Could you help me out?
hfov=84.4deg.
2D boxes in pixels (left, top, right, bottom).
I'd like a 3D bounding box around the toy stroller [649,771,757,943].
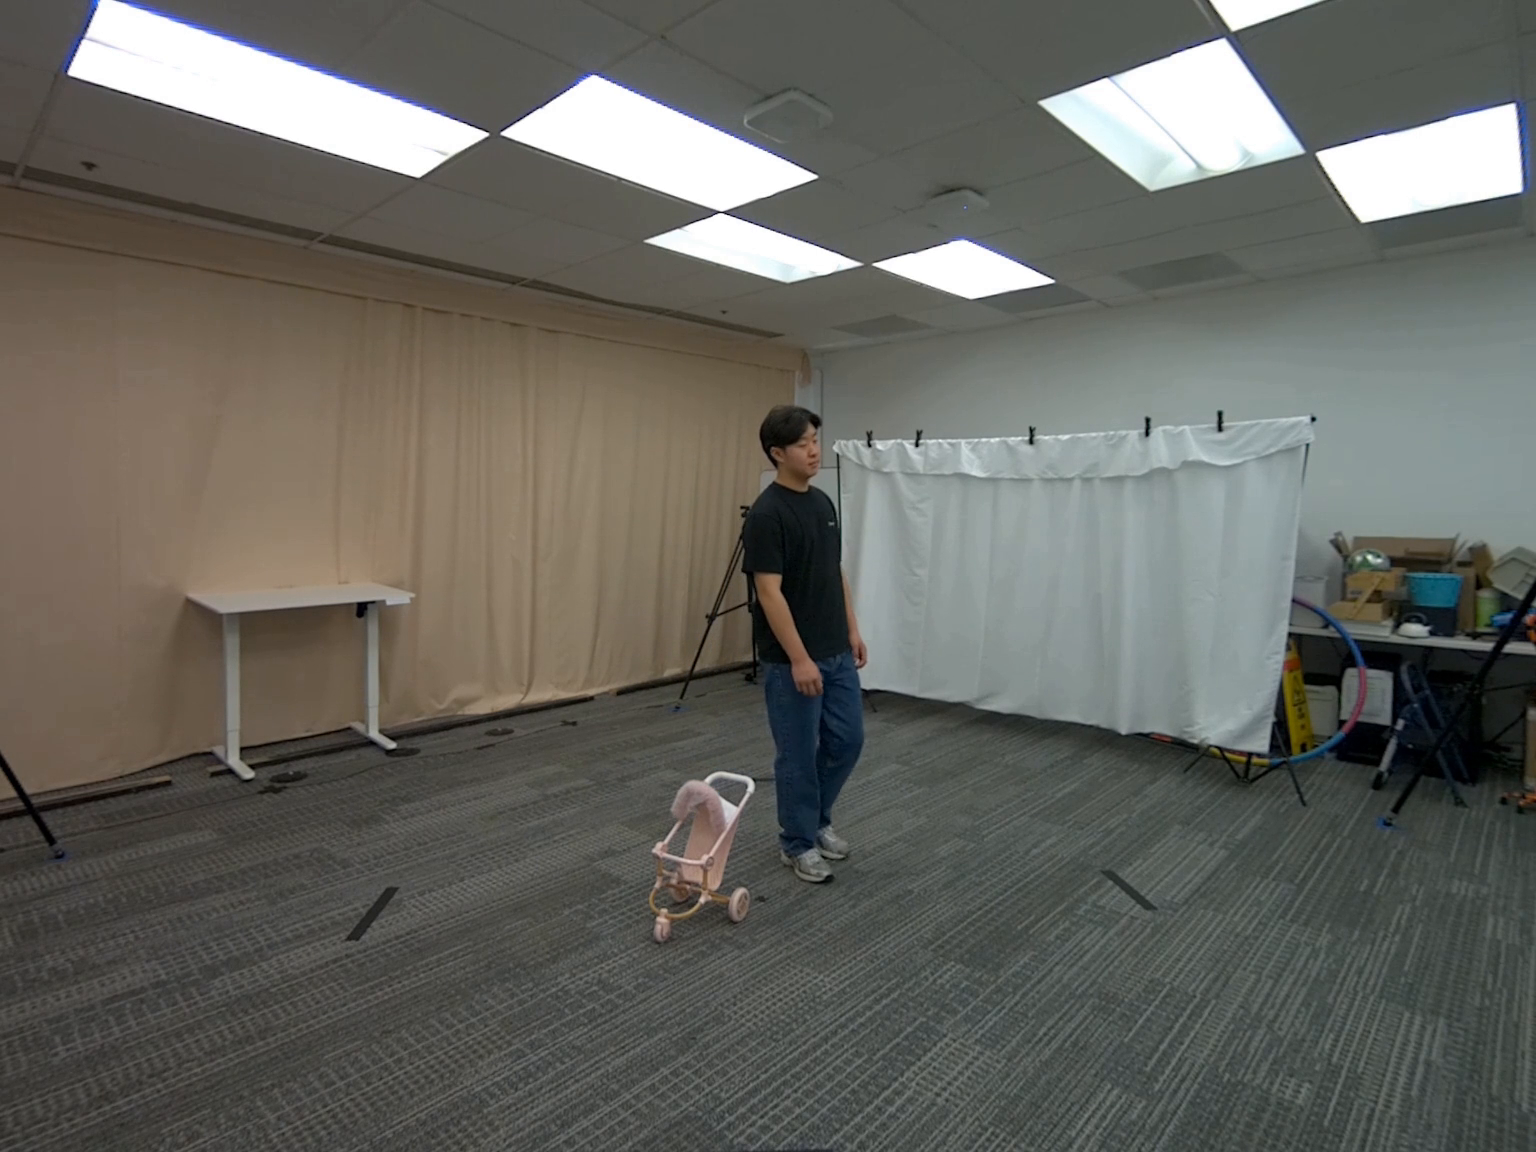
[{"bbox_3d":[-0.237,0.932,2.836,0.290,0.537,0.329,1,-12,38],"label":"toy stroller"}]
